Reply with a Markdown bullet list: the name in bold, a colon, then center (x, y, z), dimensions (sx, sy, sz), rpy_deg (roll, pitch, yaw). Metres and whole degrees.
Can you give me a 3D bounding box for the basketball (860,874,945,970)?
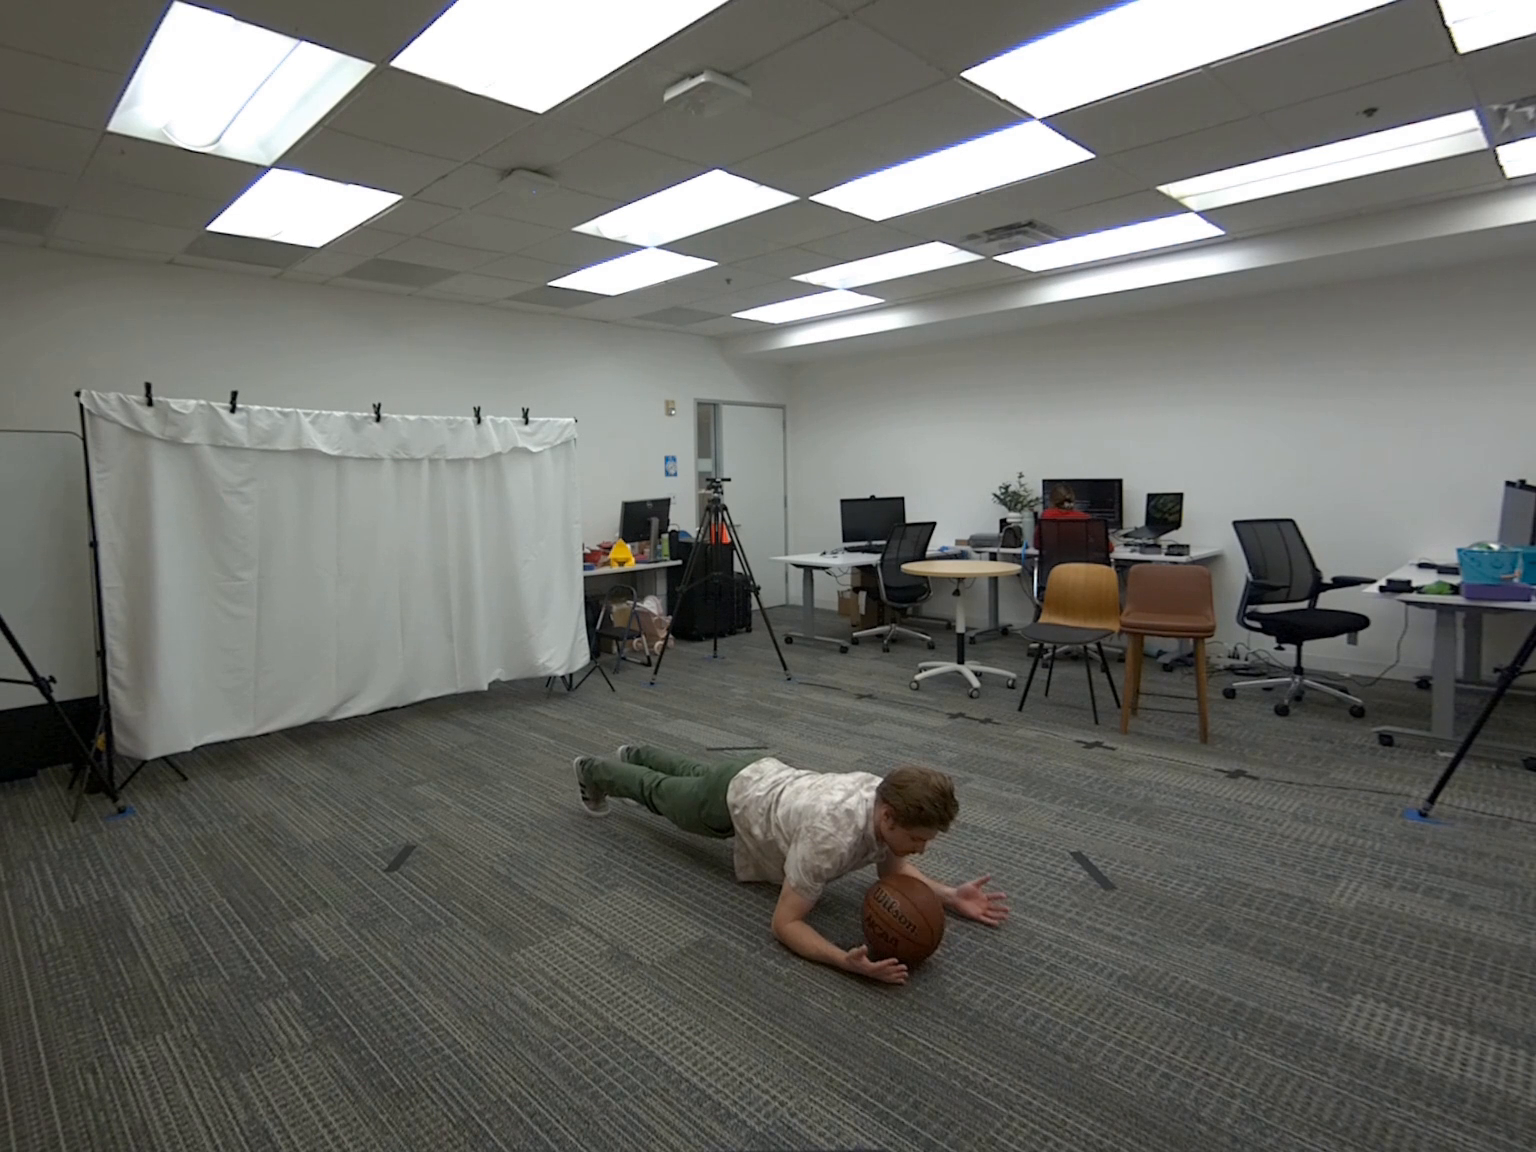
- **basketball**: center (0.392, 0.990, 2.469), dimensions (0.236, 0.235, 0.237), rpy_deg (-1, 5, -2)
